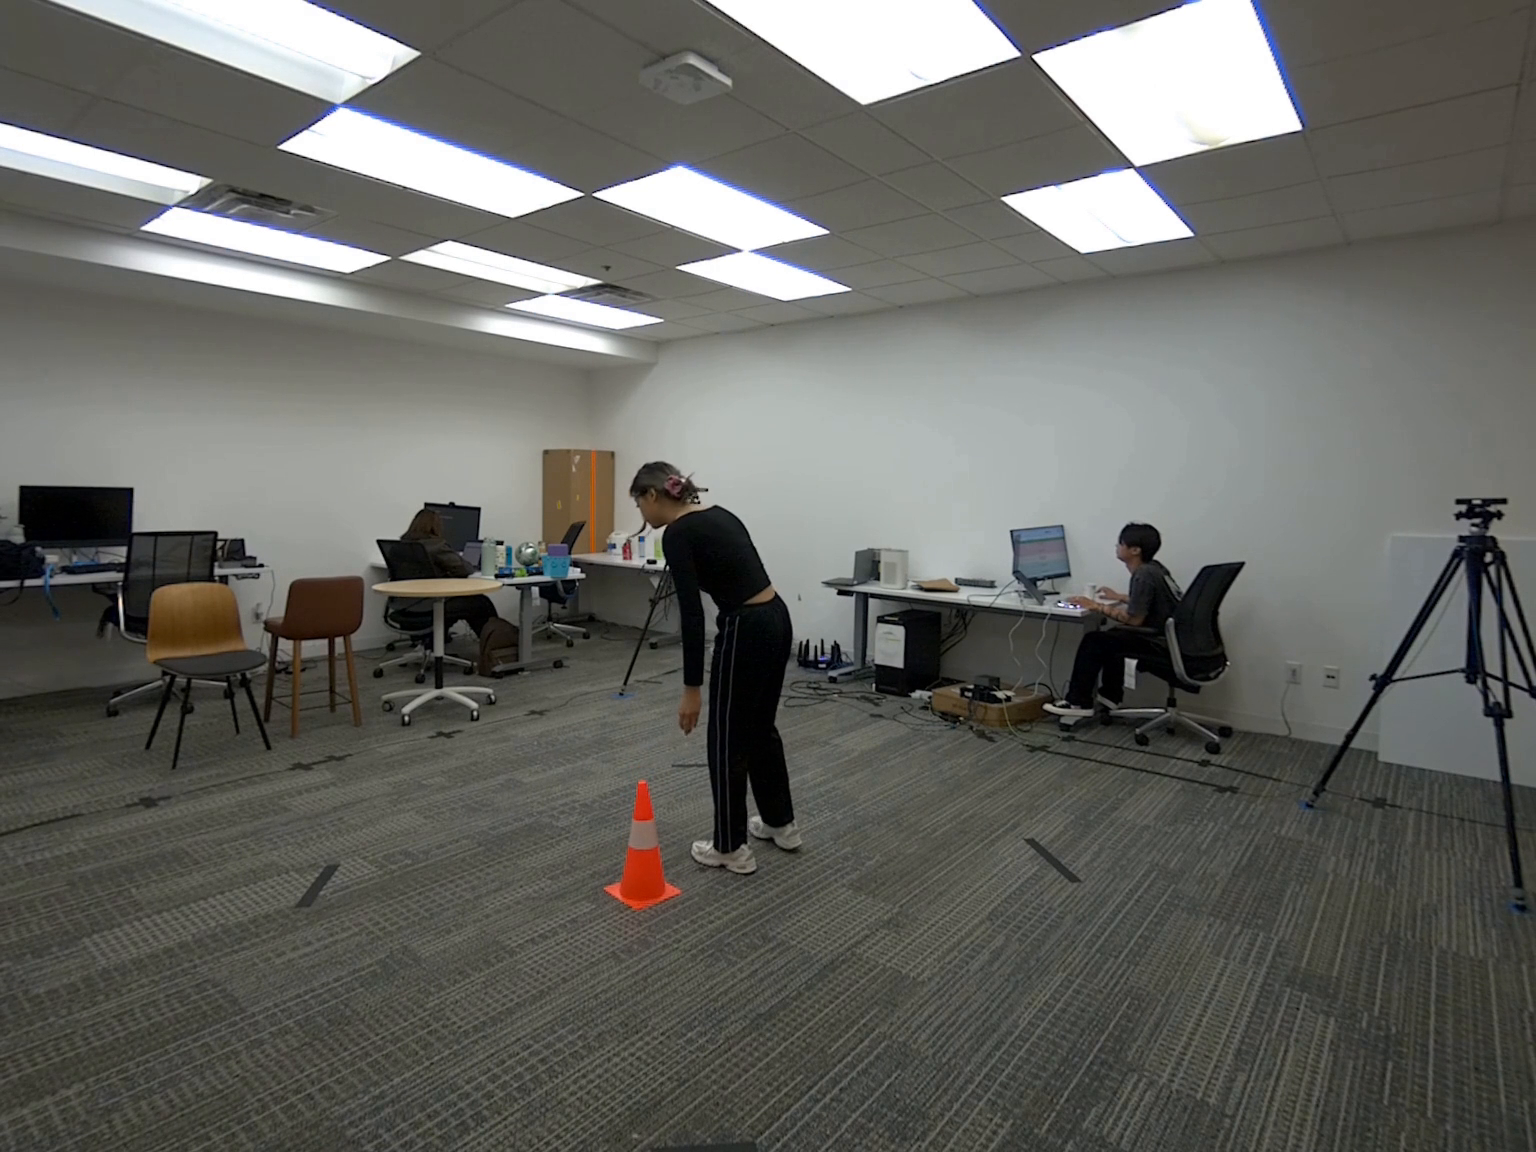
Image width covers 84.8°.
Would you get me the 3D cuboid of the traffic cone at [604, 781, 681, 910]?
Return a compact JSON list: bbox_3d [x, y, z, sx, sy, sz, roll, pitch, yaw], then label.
[{"bbox_3d":[-0.442,0.900,2.926,0.197,0.383,0.212,-2,3,-41],"label":"traffic cone"}]
